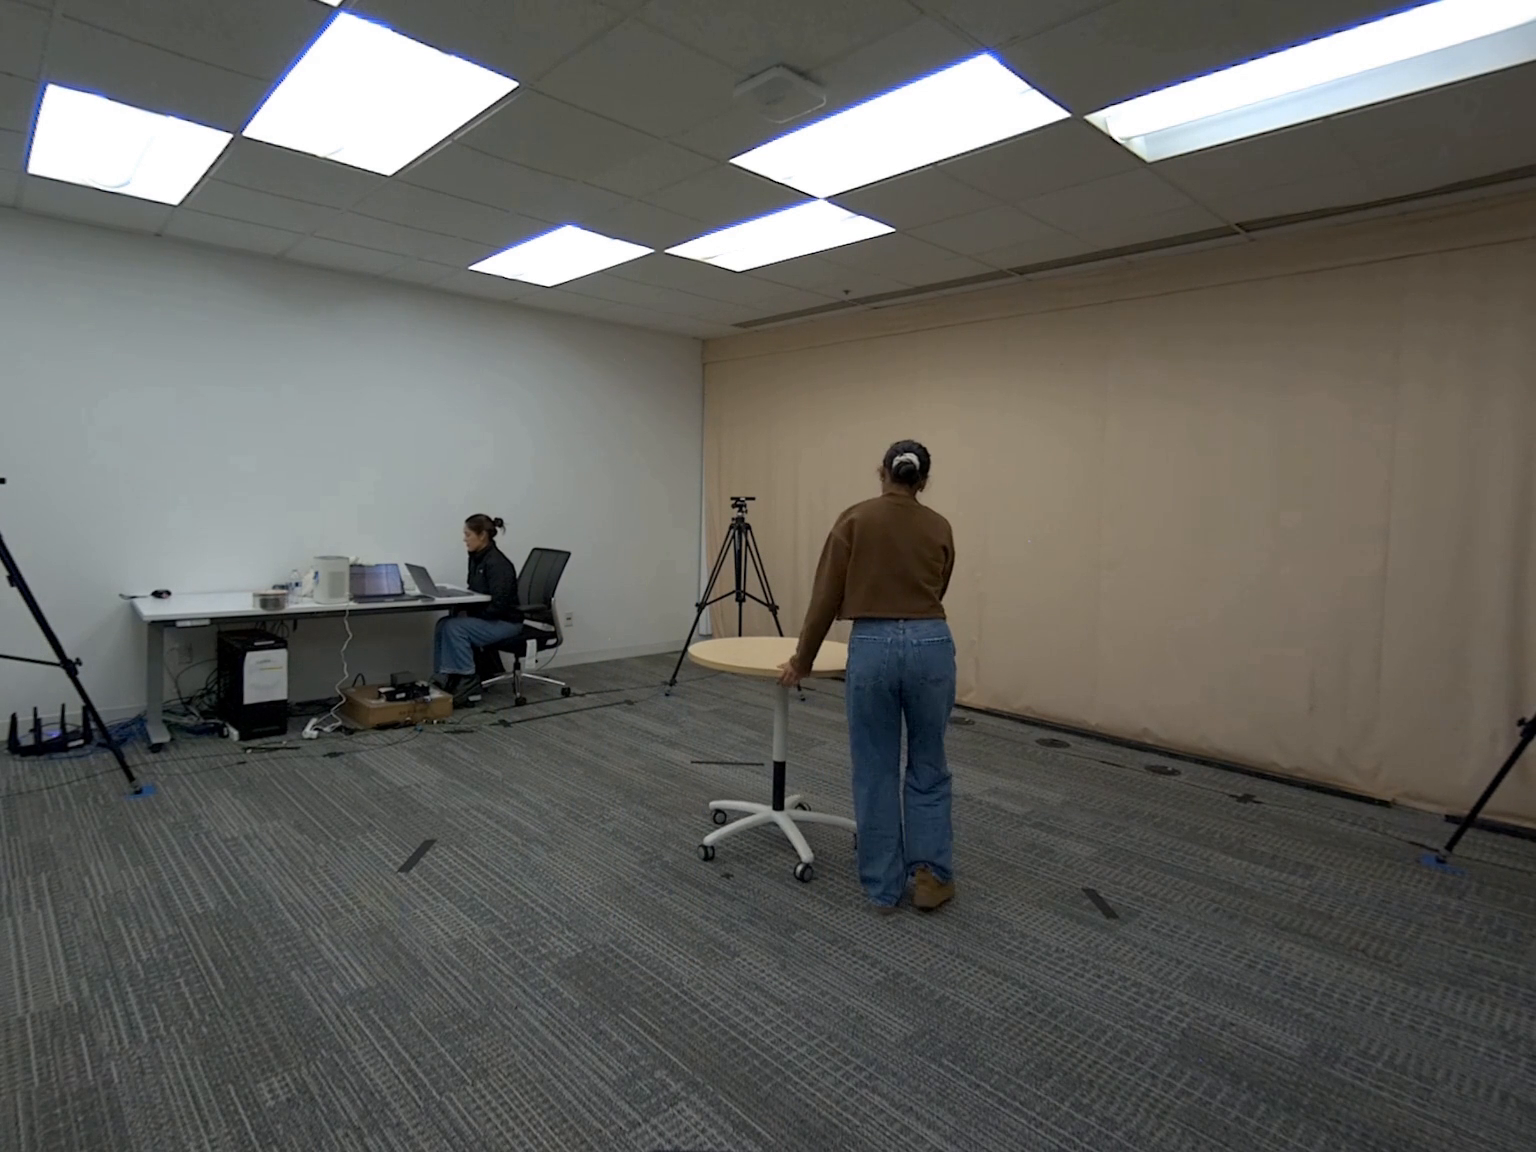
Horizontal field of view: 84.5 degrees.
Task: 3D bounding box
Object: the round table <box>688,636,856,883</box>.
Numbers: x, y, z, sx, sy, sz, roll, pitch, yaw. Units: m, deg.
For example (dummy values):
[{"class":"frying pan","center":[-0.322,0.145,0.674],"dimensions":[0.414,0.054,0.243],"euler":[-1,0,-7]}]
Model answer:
[{"class":"round table","center":[0.049,0.692,3.401],"dimensions":[0.784,0.784,0.788],"euler":[2,4,-1]}]
